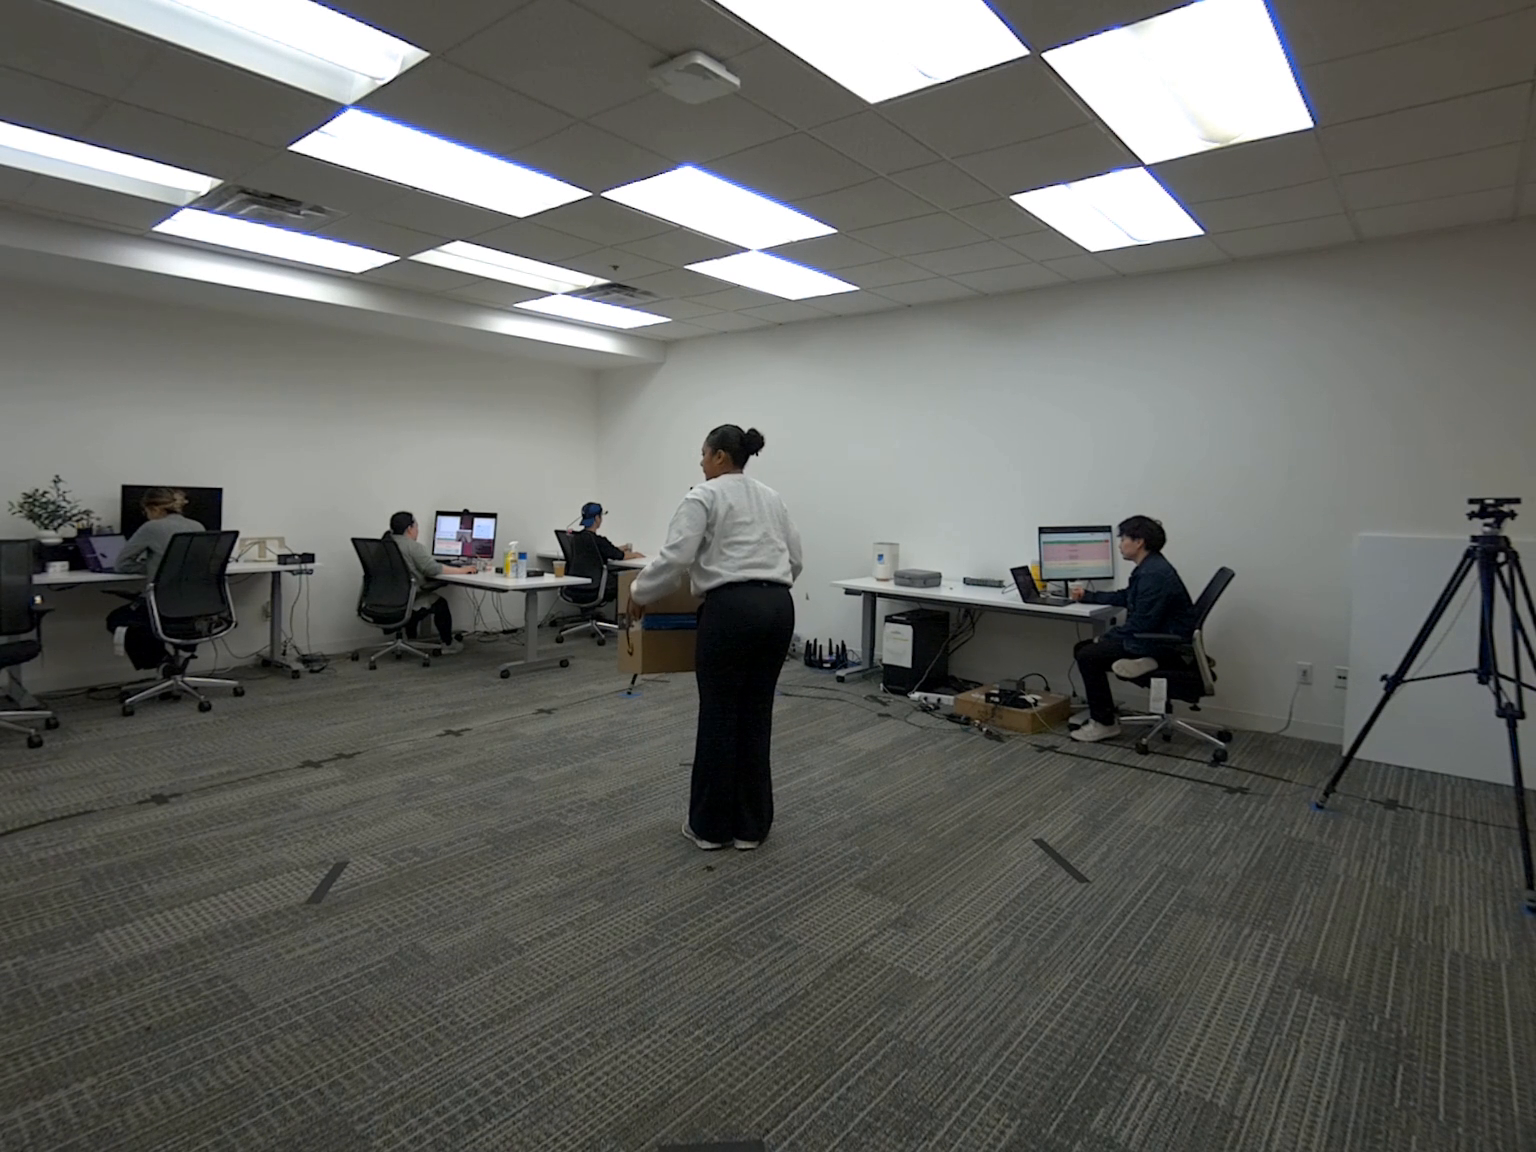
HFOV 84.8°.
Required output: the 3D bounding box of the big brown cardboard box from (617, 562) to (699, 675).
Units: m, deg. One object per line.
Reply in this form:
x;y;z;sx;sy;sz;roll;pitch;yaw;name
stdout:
-0.341;0.193;3.602;0.572;0.420;0.239;0;-5;-33;big brown cardboard box
